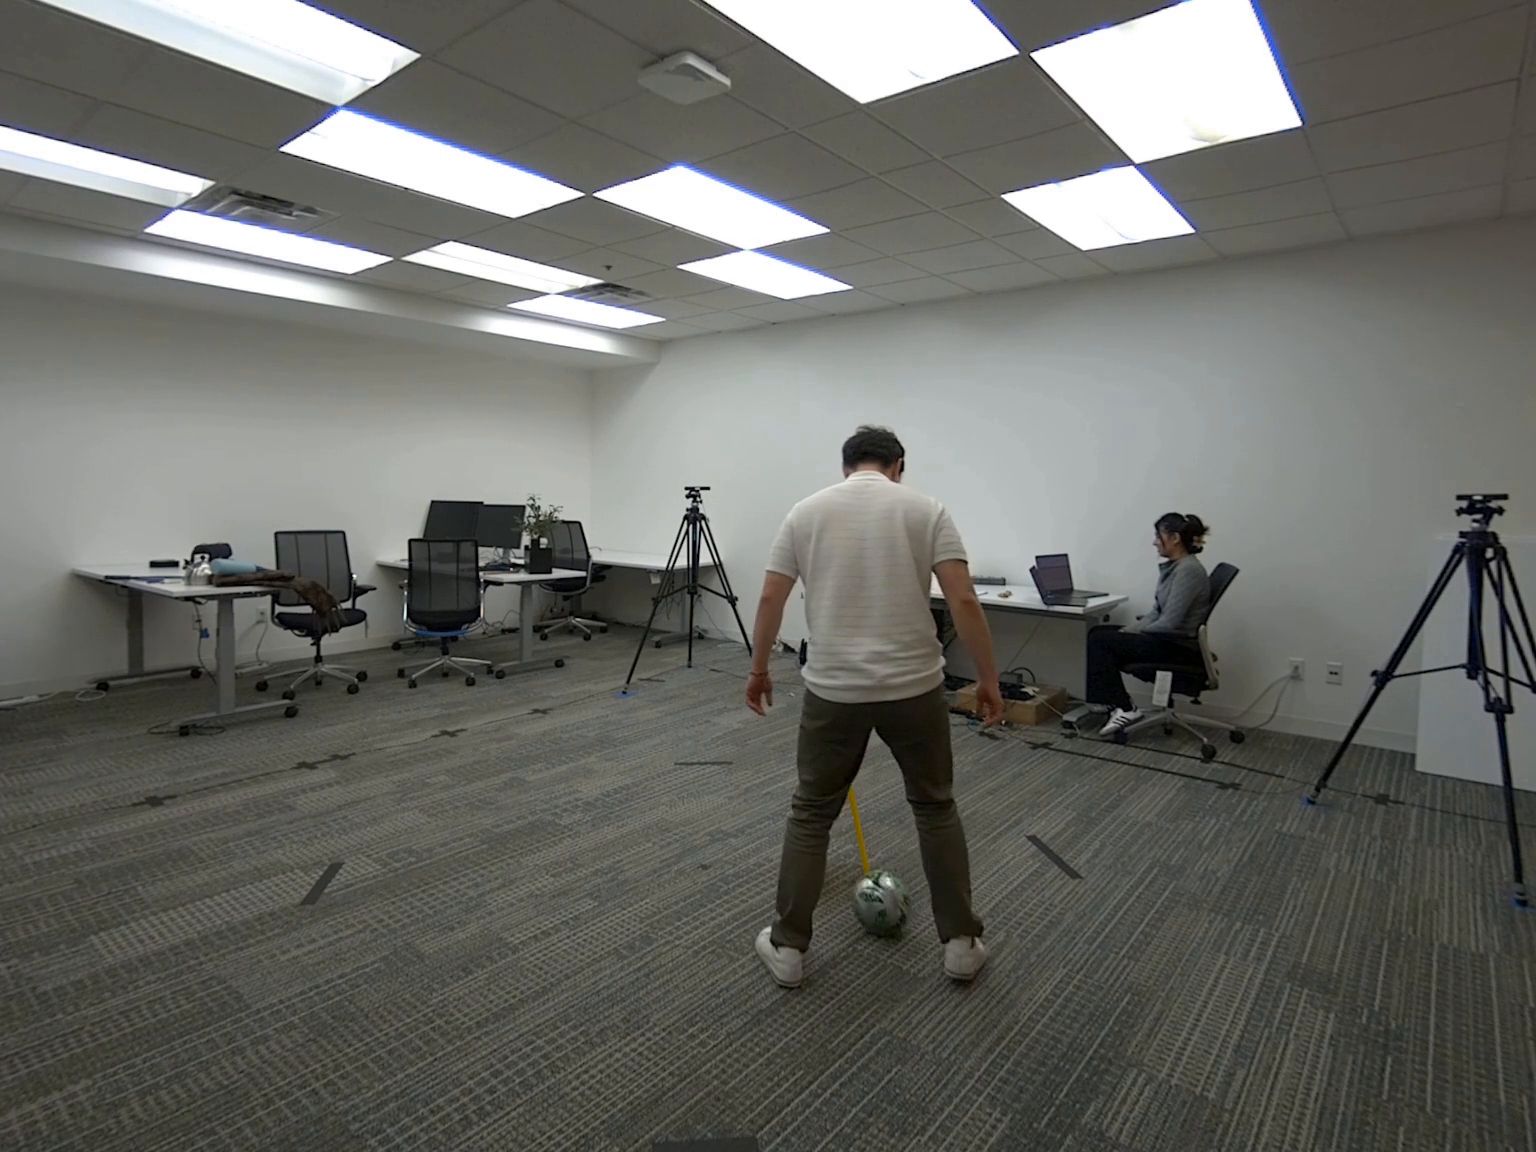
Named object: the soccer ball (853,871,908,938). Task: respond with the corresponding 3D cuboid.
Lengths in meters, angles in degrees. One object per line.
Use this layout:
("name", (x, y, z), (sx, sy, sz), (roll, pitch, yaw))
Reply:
("soccer ball", (0.350, 1.027, 2.682), (0.187, 0.187, 0.188), (0, 4, -2))
